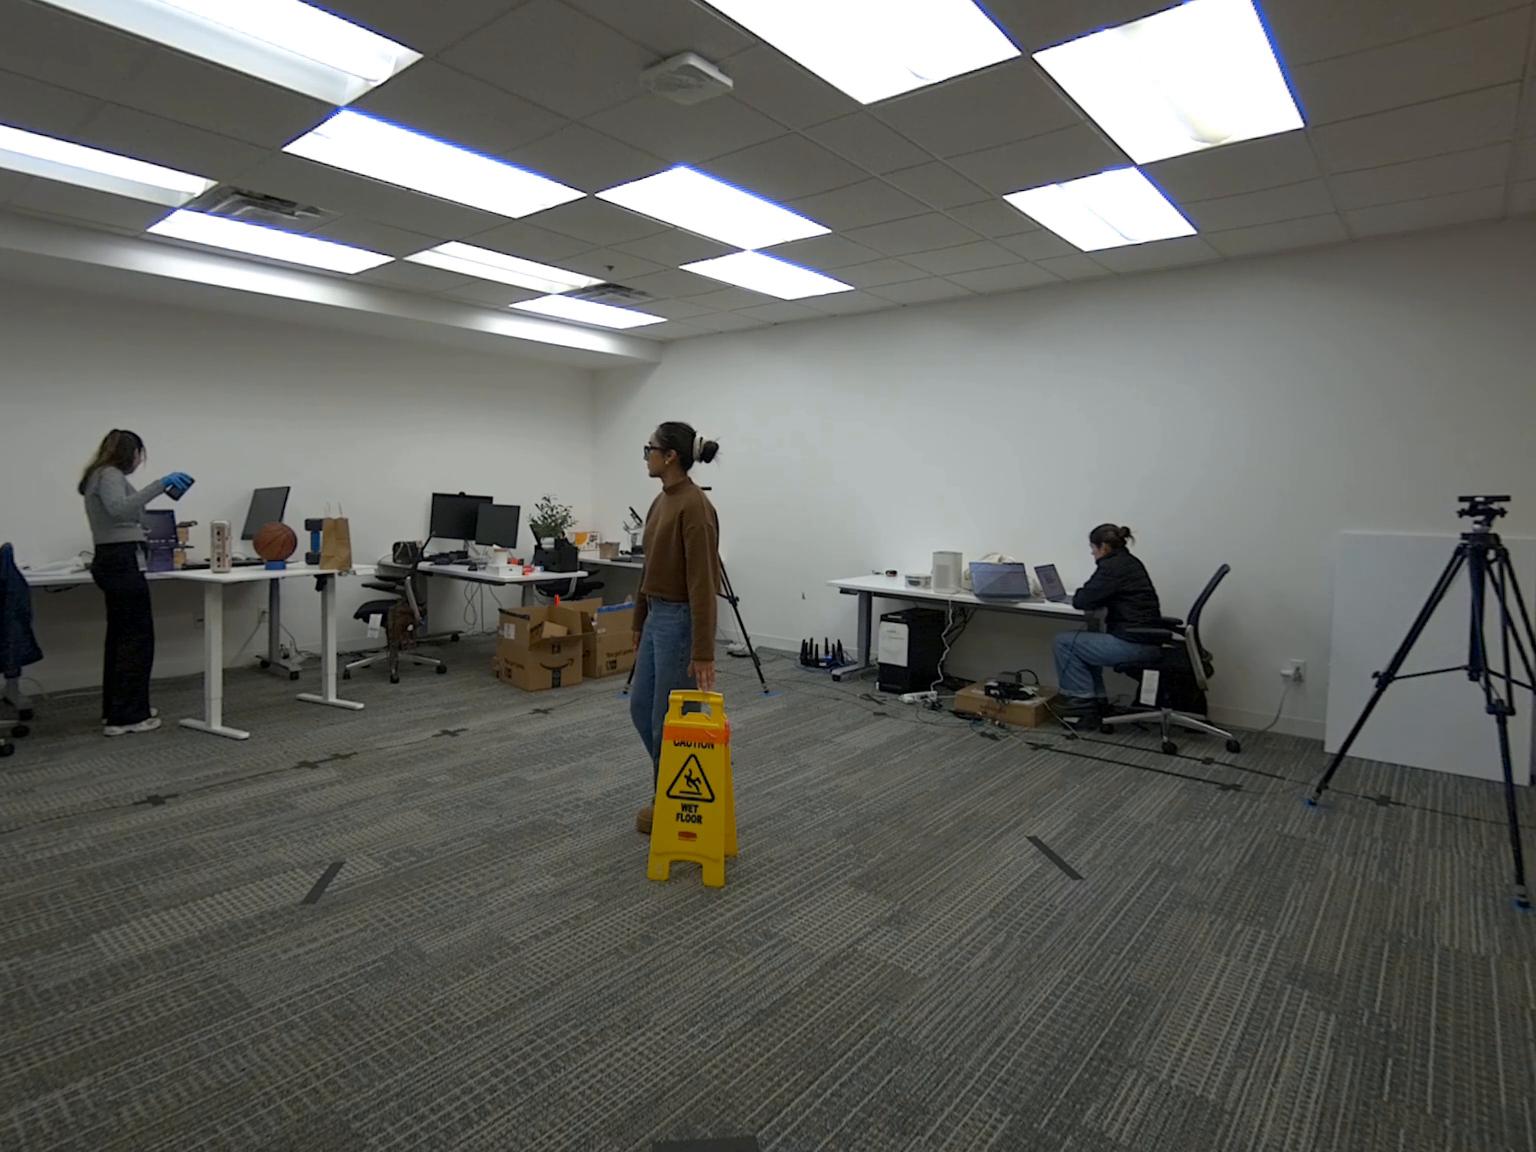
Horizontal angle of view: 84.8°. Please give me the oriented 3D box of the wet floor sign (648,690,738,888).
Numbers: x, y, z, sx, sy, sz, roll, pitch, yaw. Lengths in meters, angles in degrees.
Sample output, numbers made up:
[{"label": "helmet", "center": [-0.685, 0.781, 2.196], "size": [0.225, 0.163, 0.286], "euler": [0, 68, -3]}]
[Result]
[{"label": "wet floor sign", "center": [-0.277, 0.740, 3.100], "size": [0.285, 0.644, 0.287], "euler": [0, 3, 9]}]
